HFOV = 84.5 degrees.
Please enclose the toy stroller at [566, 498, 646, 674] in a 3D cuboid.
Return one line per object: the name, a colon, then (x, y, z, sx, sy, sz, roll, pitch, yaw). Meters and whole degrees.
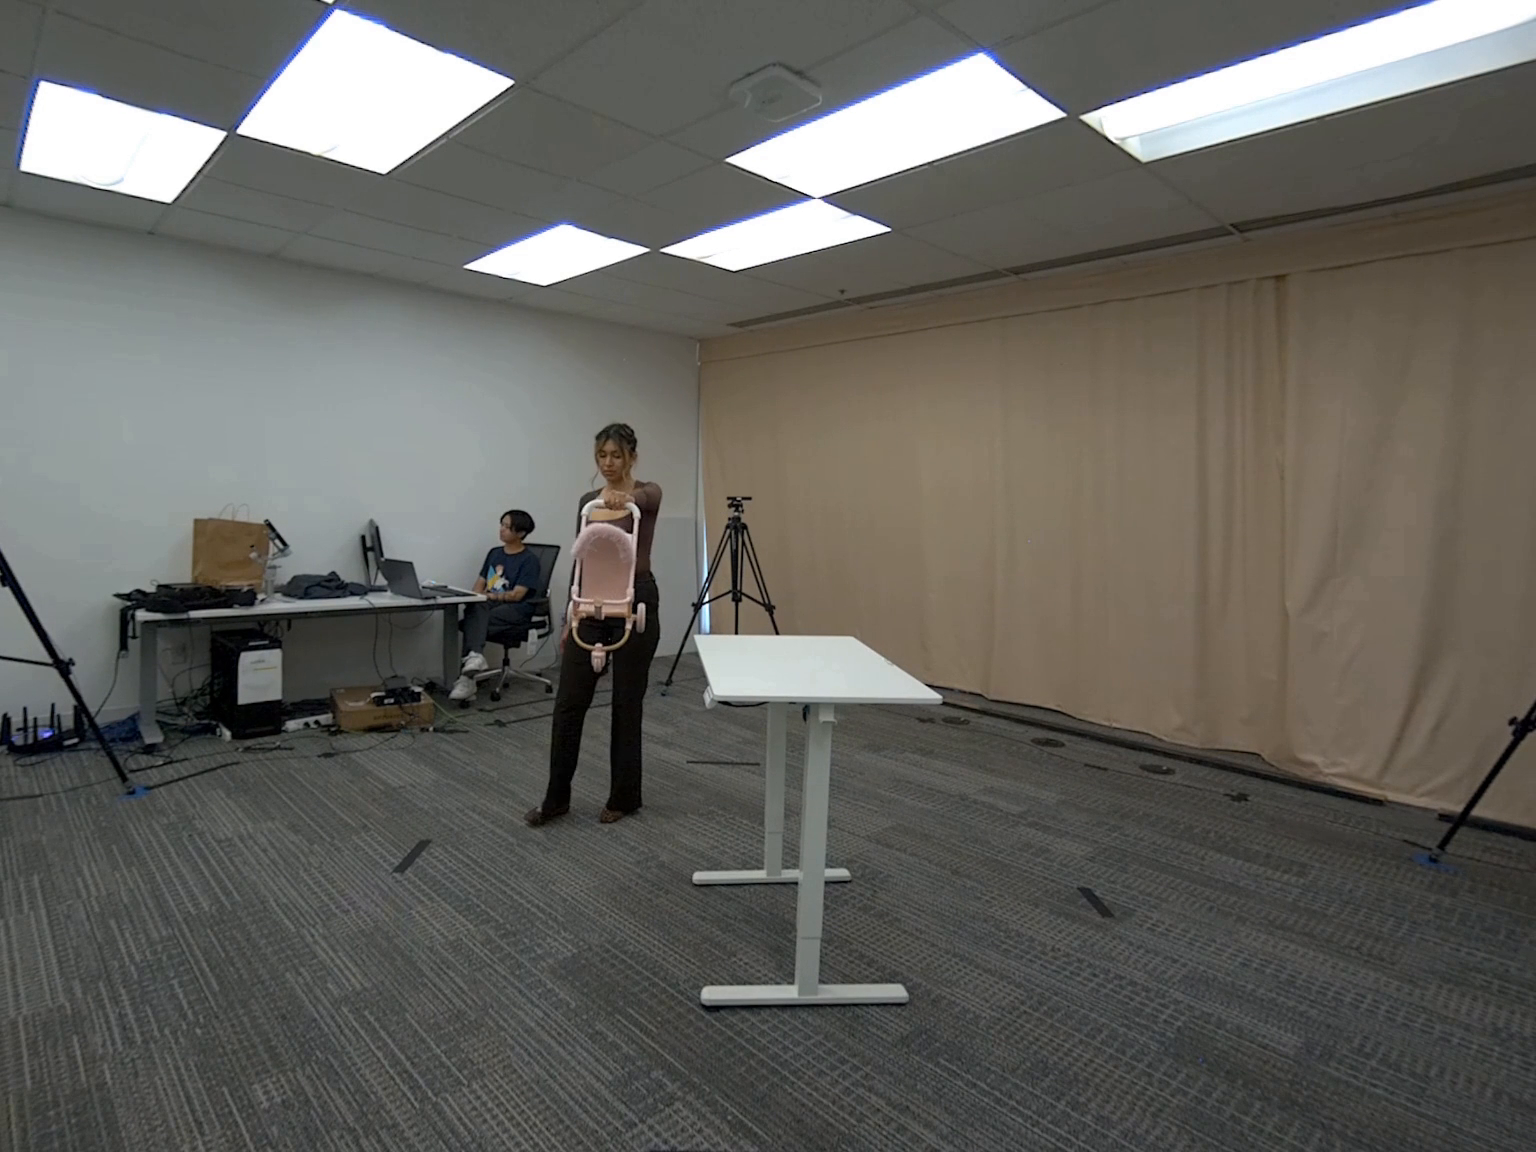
toy stroller: (-0.580, 0.038, 2.946, 0.281, 0.530, 0.345, 5, 15, -1)
